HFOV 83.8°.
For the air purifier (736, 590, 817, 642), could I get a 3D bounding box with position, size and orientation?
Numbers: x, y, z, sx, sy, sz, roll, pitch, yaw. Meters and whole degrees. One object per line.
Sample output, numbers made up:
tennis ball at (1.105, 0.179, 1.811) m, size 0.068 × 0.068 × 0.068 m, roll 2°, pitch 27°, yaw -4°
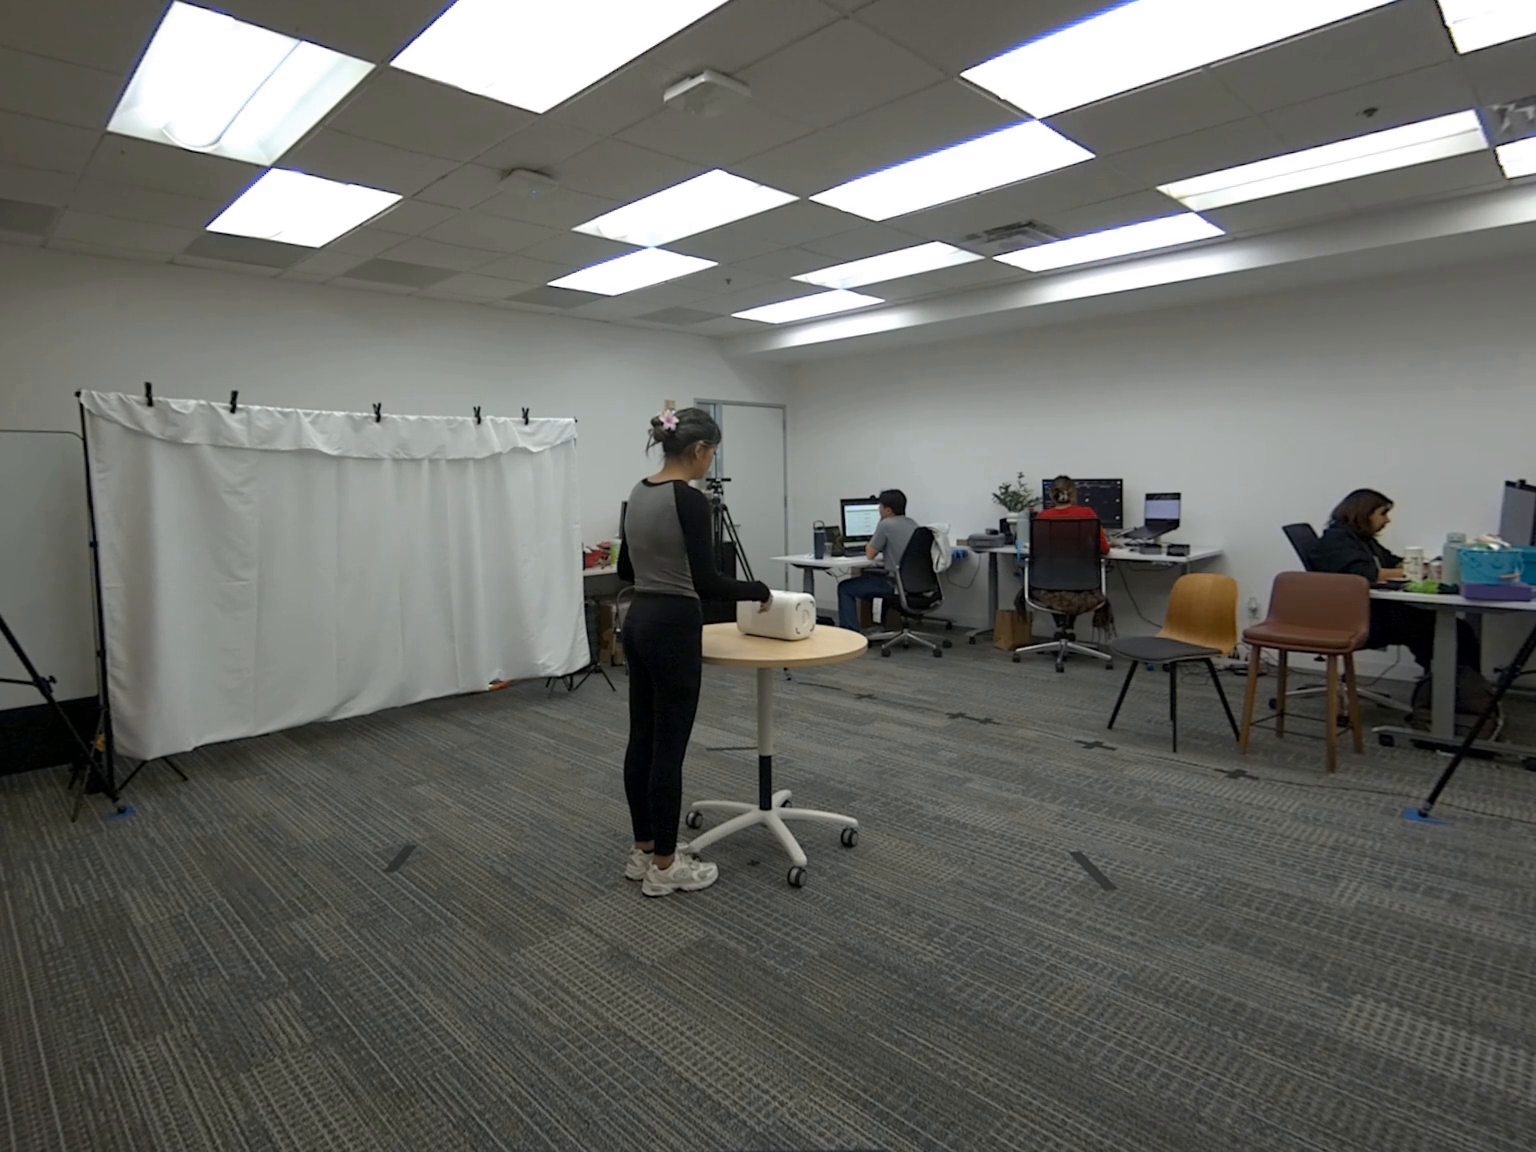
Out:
air purifier at (0.037, 0.143, 3.256) m, size 0.273 × 0.171 × 0.166 m, roll 4°, pitch 5°, yaw 40°
